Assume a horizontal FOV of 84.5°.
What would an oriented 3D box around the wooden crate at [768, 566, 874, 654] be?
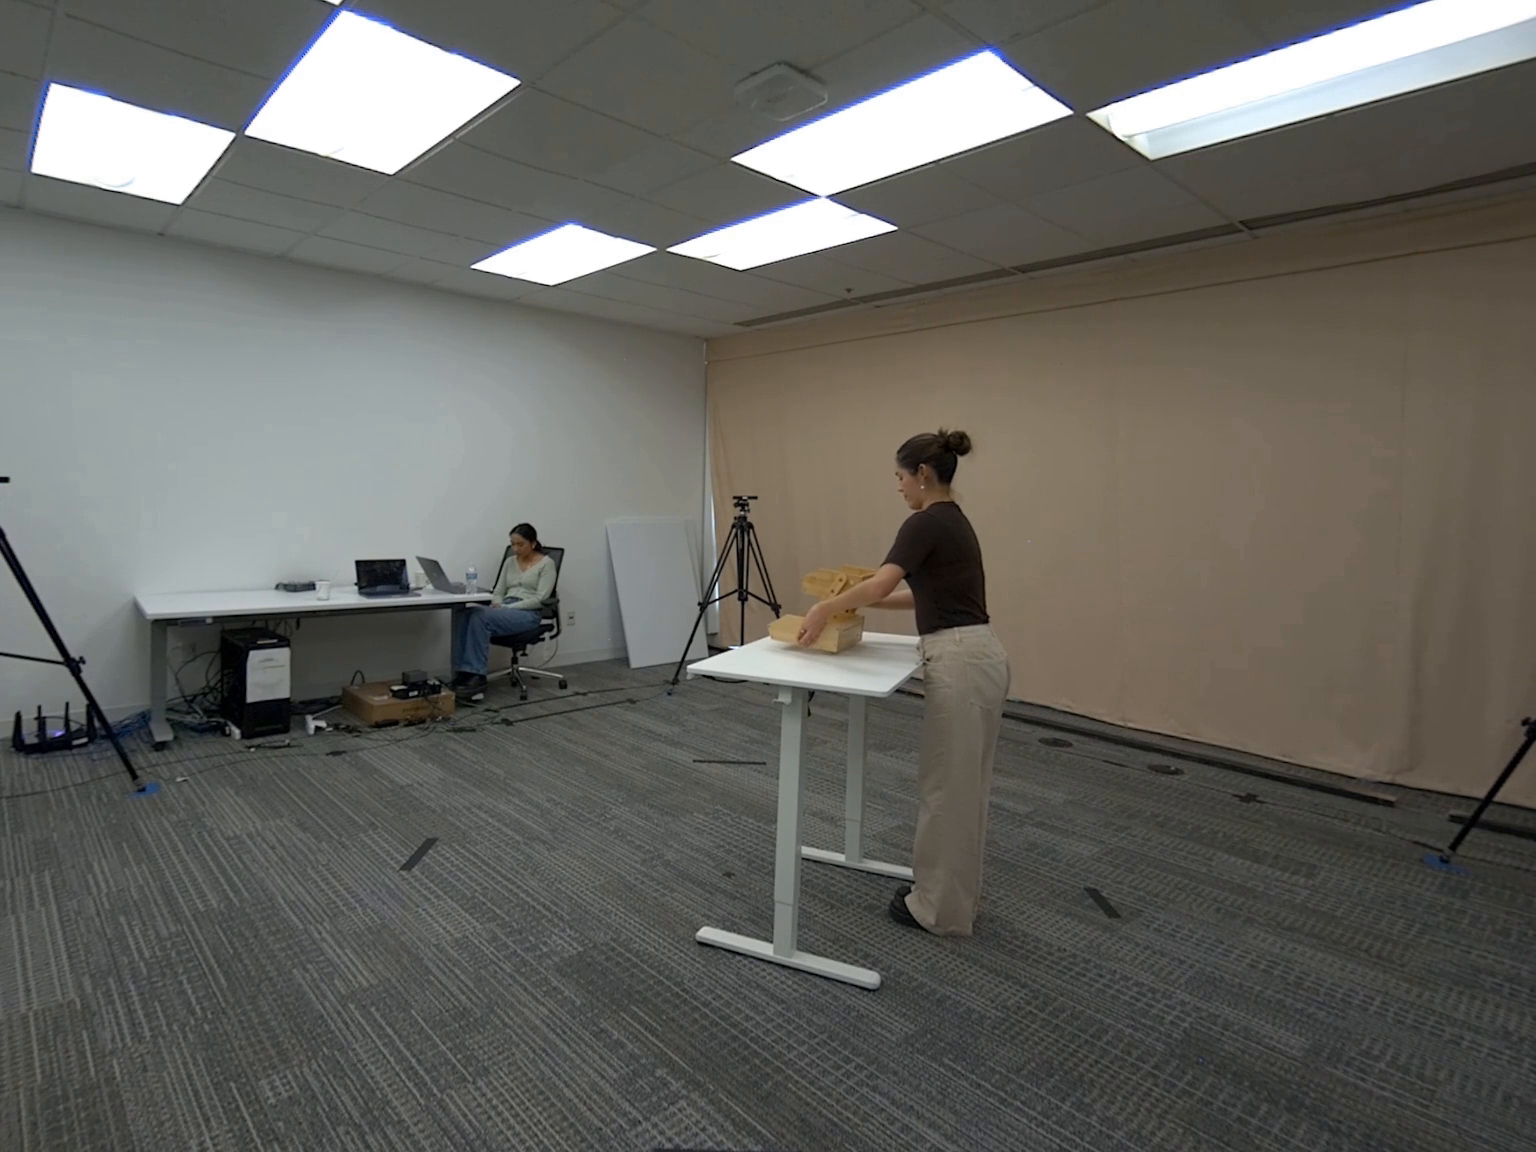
[{"bbox_3d":[0.205,0.095,2.898,0.308,0.272,0.319,10,6,22],"label":"wooden crate"}]
